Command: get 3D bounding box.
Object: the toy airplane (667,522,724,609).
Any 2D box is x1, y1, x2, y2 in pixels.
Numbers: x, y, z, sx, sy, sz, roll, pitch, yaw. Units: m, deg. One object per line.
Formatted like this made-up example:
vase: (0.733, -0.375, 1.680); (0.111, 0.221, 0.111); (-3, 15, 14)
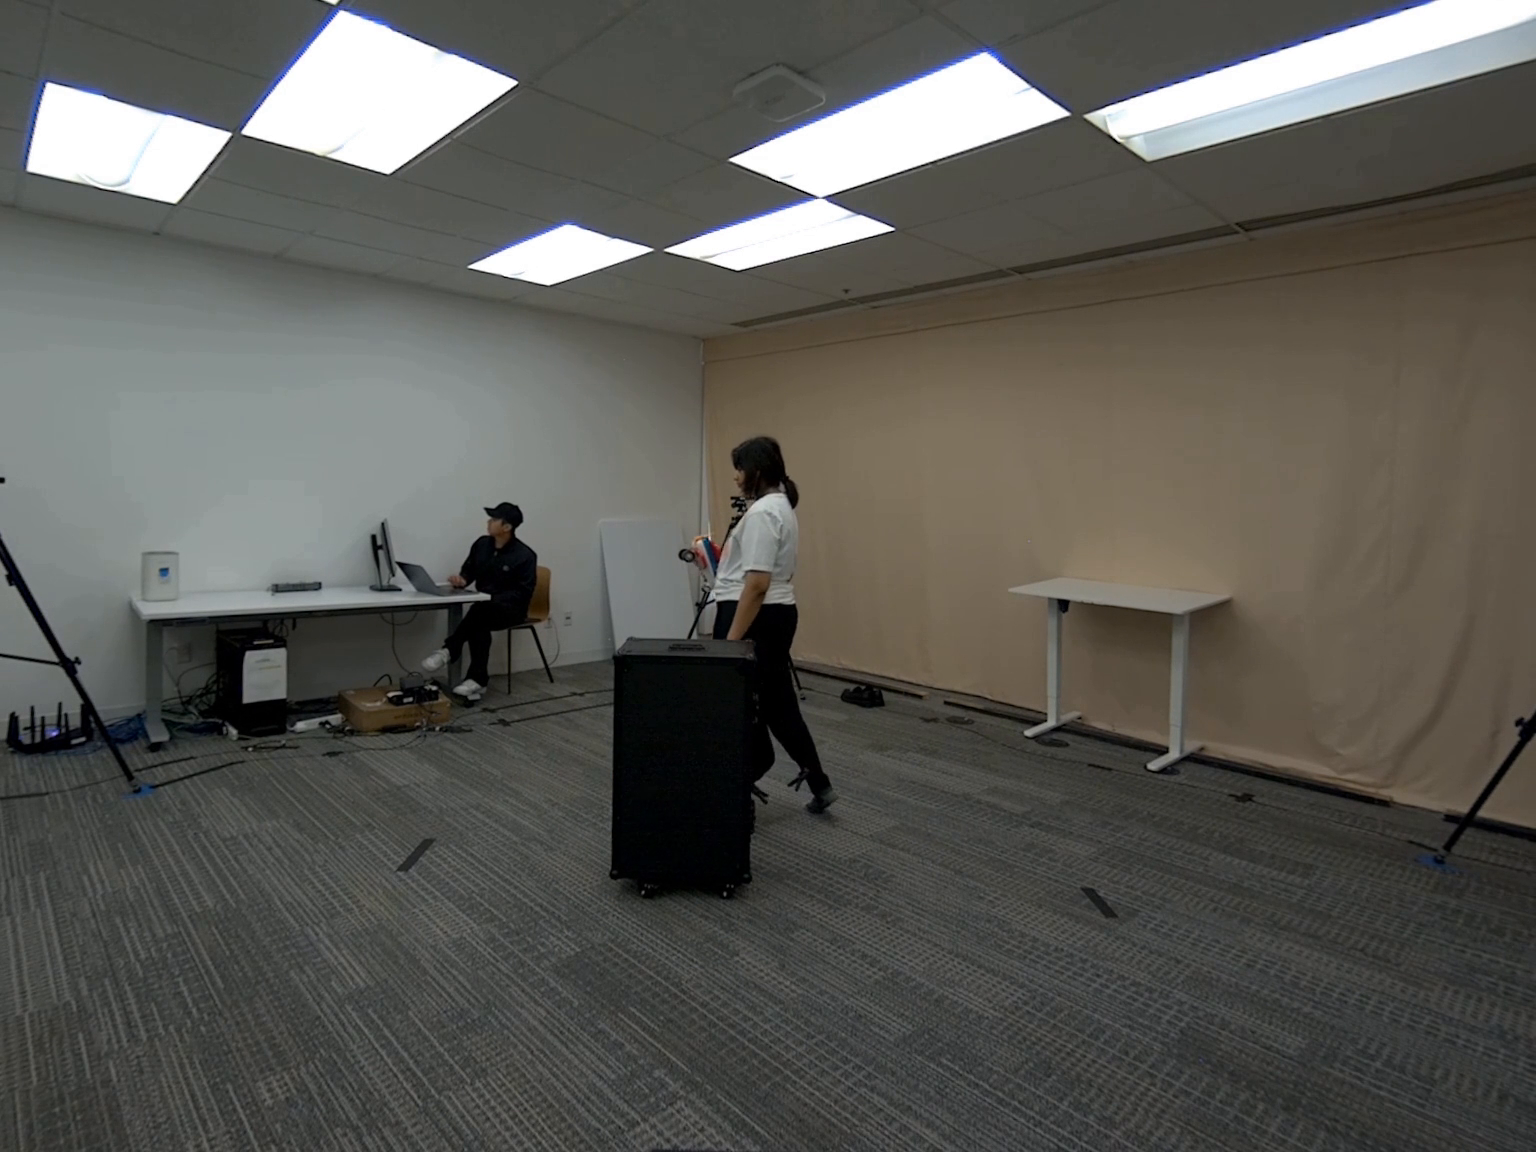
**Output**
toy airplane: (-0.278, -0.050, 3.727); (0.156, 0.251, 0.259); (-36, 41, -11)
